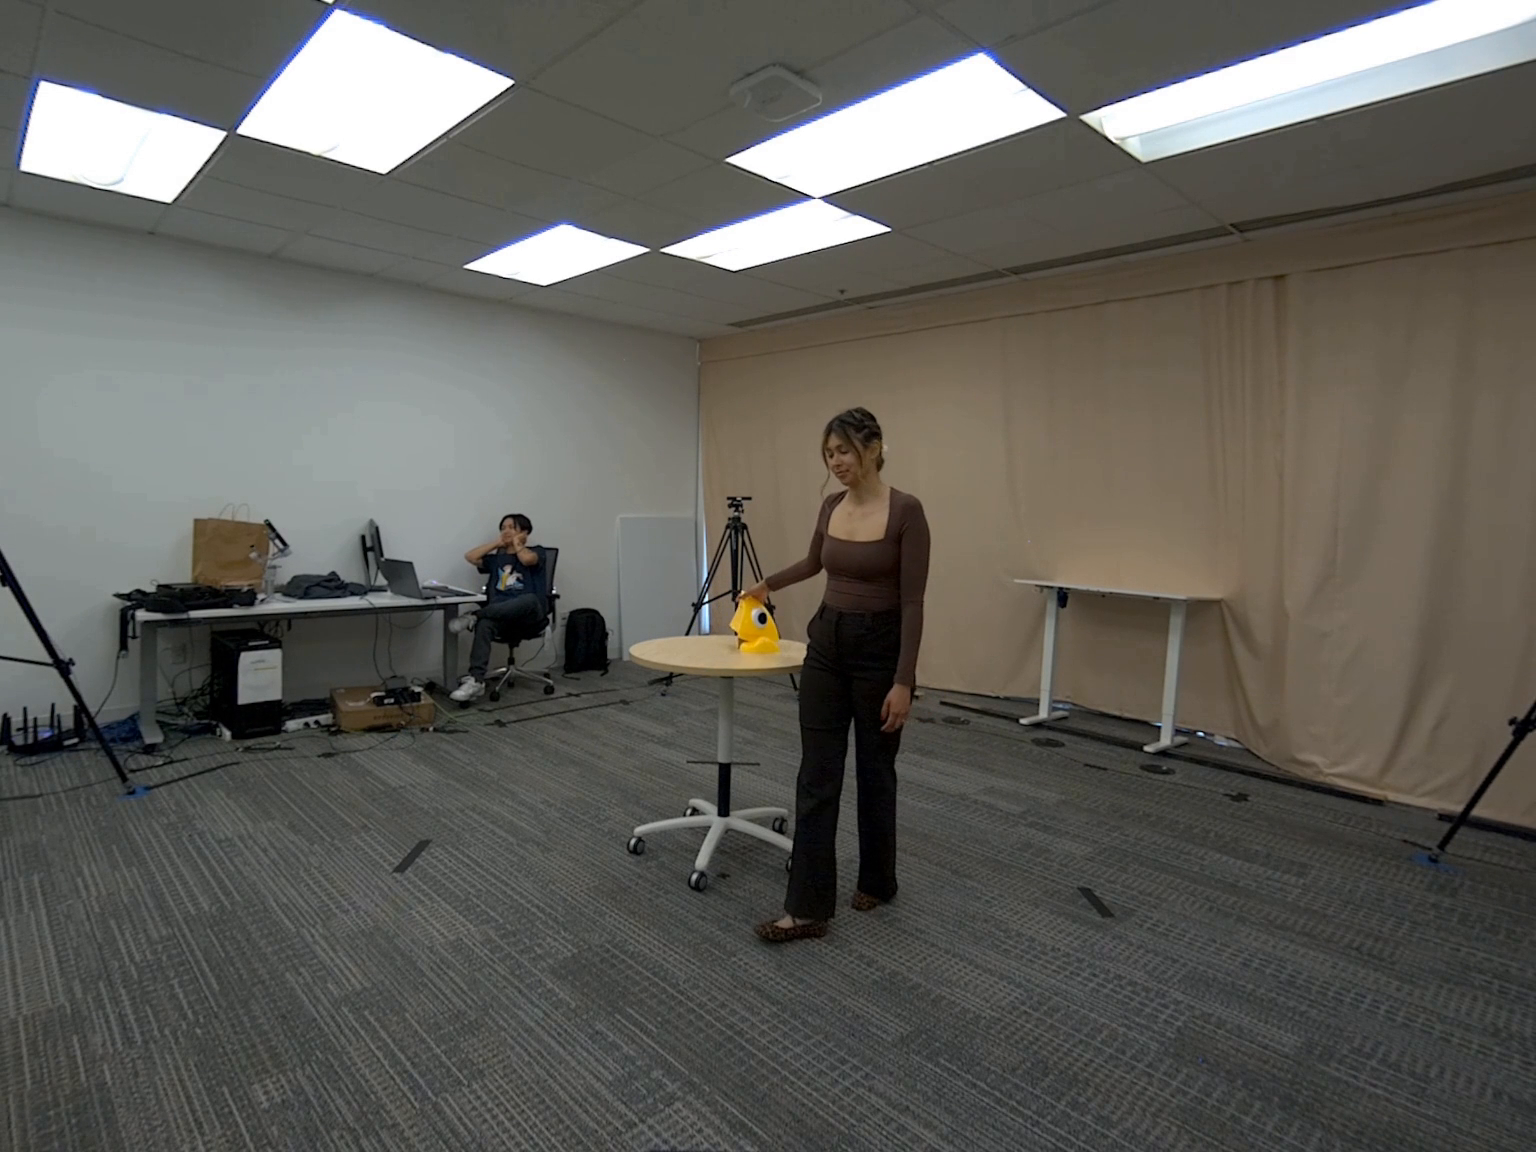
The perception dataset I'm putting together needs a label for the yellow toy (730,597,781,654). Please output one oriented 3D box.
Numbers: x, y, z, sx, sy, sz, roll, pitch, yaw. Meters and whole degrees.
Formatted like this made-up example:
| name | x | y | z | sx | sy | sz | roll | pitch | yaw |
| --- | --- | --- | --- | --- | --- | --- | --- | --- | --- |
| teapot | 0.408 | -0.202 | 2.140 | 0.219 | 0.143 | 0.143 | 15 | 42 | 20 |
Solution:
| name | x | y | z | sx | sy | sz | roll | pitch | yaw |
| --- | --- | --- | --- | --- | --- | --- | --- | --- | --- |
| yellow toy | -0.055 | 0.175 | 3.349 | 0.191 | 0.230 | 0.207 | 0 | 3 | -11 |
